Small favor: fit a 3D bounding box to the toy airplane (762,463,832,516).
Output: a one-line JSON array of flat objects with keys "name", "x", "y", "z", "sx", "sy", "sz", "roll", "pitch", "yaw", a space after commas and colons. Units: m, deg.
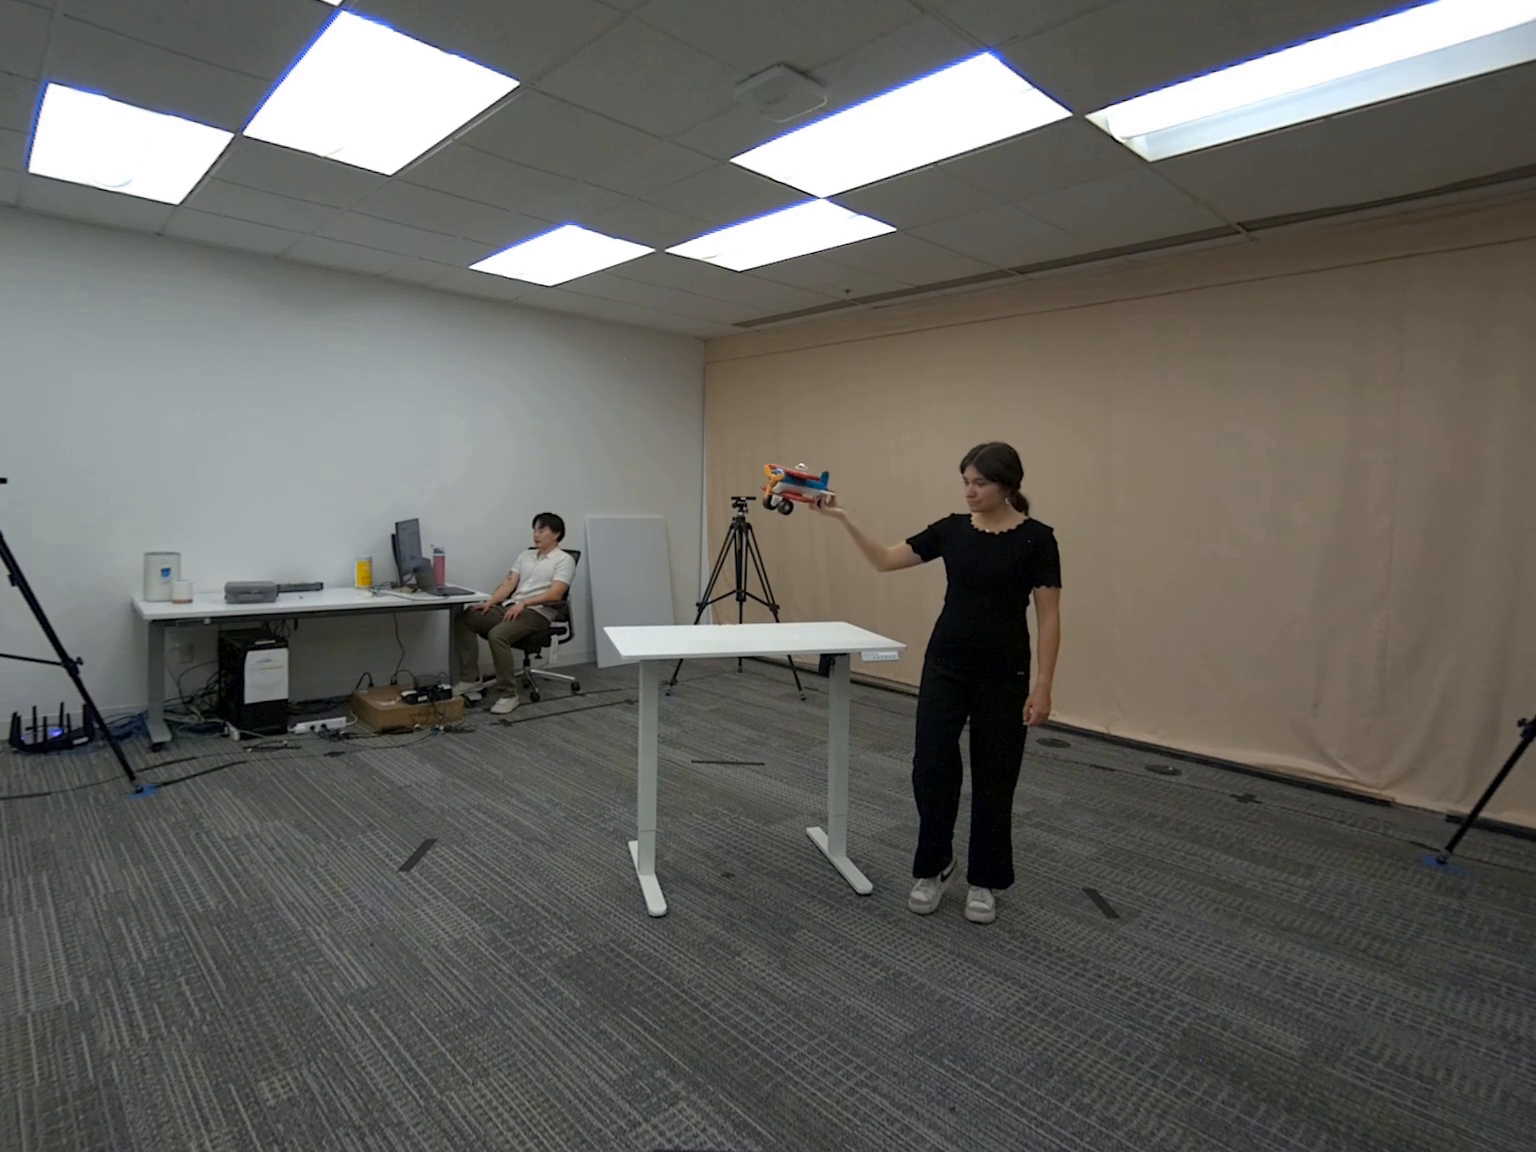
[{"name": "toy airplane", "x": 0.085, "y": -0.300, "z": 2.912, "sx": 0.256, "sy": 0.154, "sz": 0.257, "roll": 12, "pitch": 20, "yaw": 25}]
